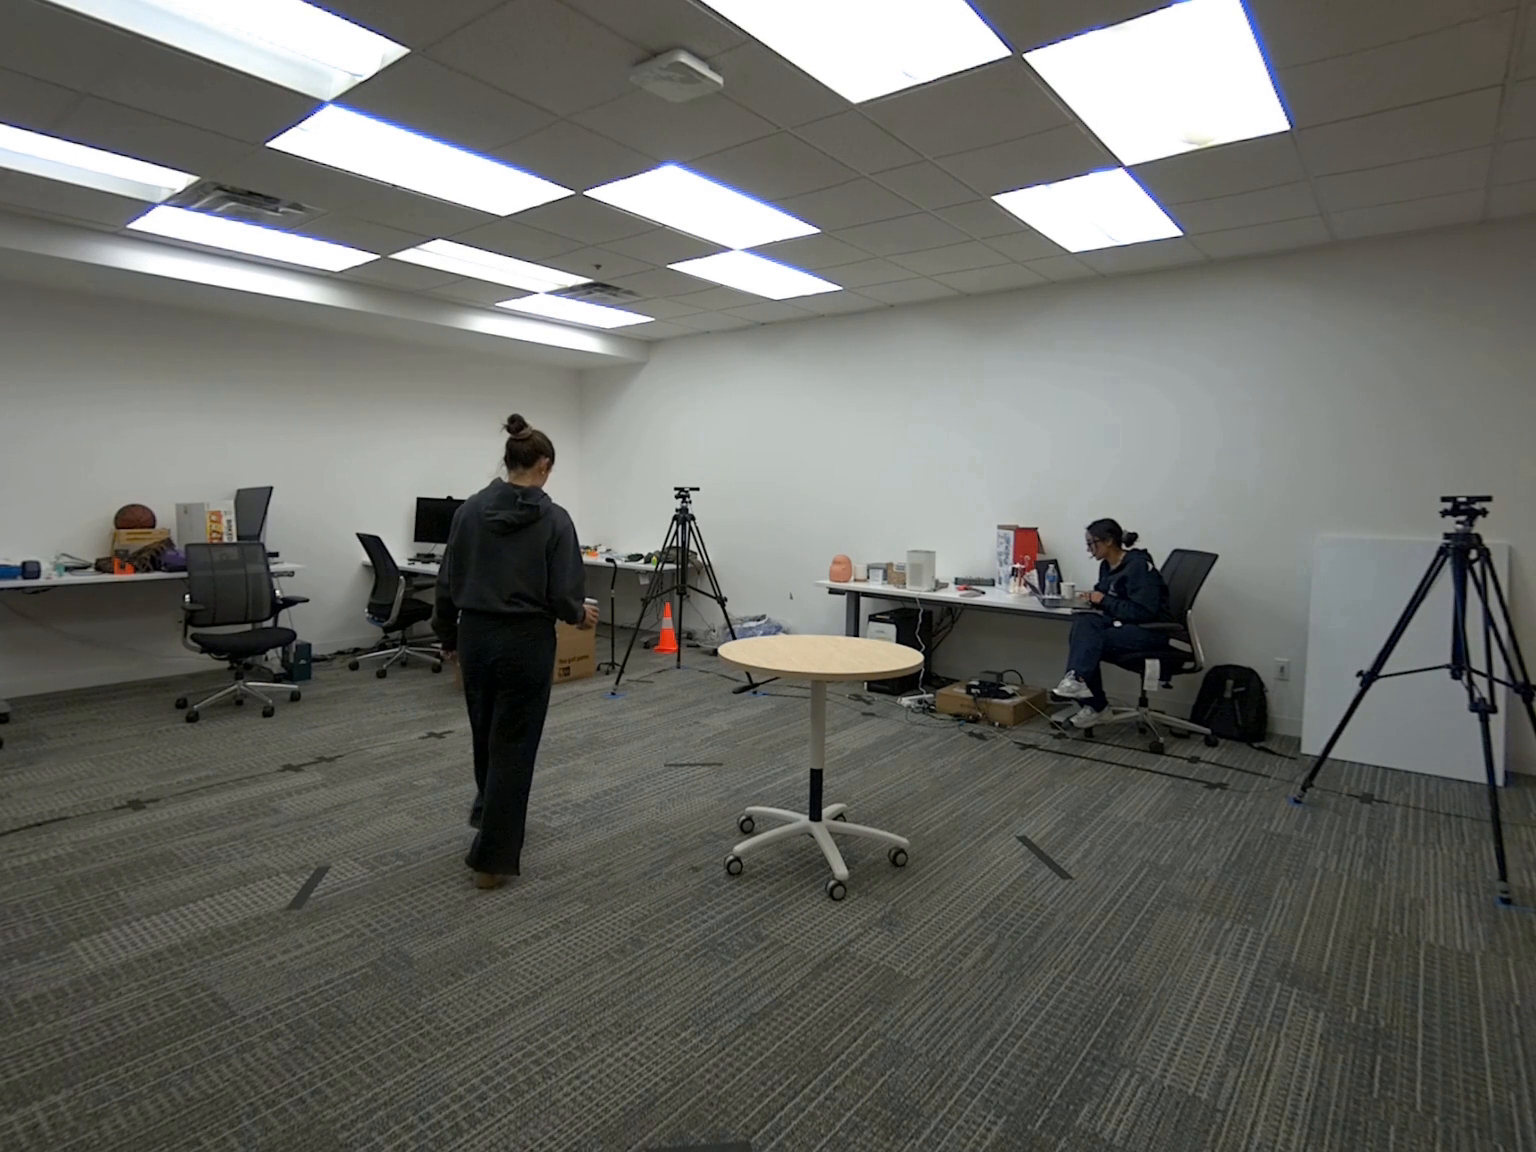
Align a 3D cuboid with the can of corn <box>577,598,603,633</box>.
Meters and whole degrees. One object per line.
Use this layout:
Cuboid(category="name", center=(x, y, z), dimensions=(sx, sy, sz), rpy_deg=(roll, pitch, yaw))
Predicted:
Cuboid(category="can of corn", center=(-0.698, 0.151, 3.287), dimensions=(0.074, 0.110, 0.075), rpy_deg=(8, 7, -3))
